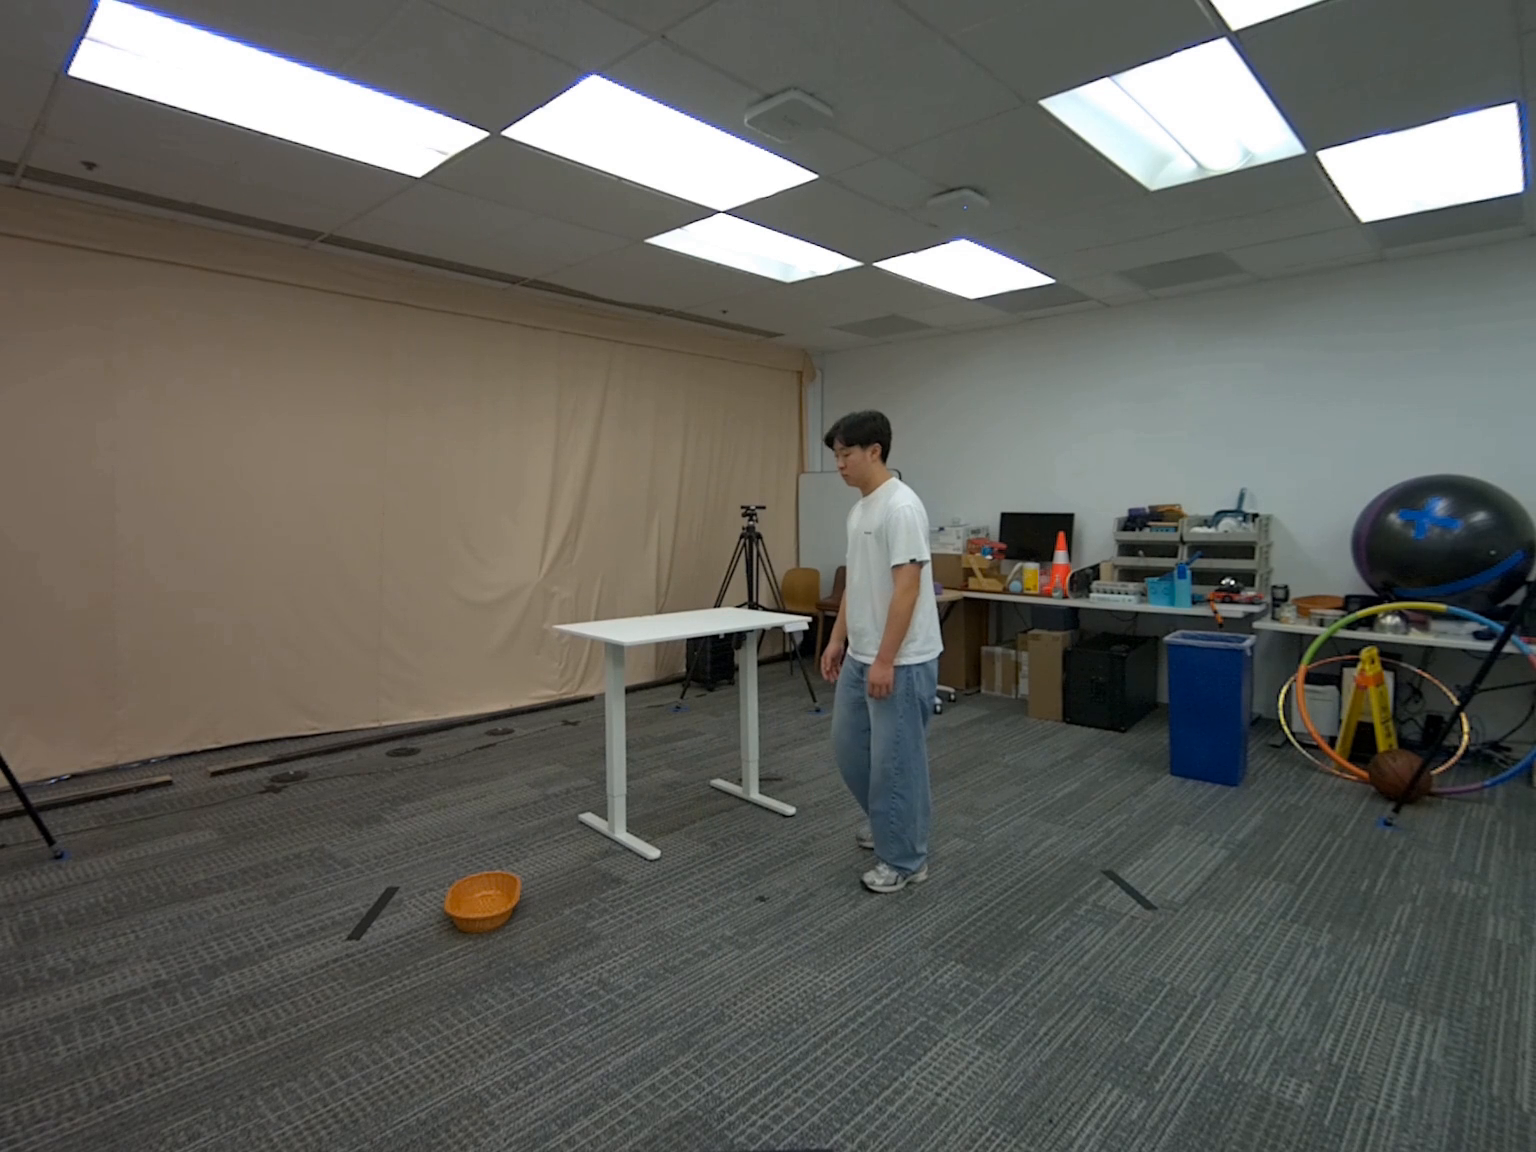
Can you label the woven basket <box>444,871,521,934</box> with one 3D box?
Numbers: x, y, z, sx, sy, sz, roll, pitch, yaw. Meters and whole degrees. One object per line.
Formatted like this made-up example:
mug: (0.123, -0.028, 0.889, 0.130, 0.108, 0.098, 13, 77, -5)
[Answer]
woven basket: (-0.977, 1.123, 2.895, 0.250, 0.073, 0.354, -2, 5, -9)
